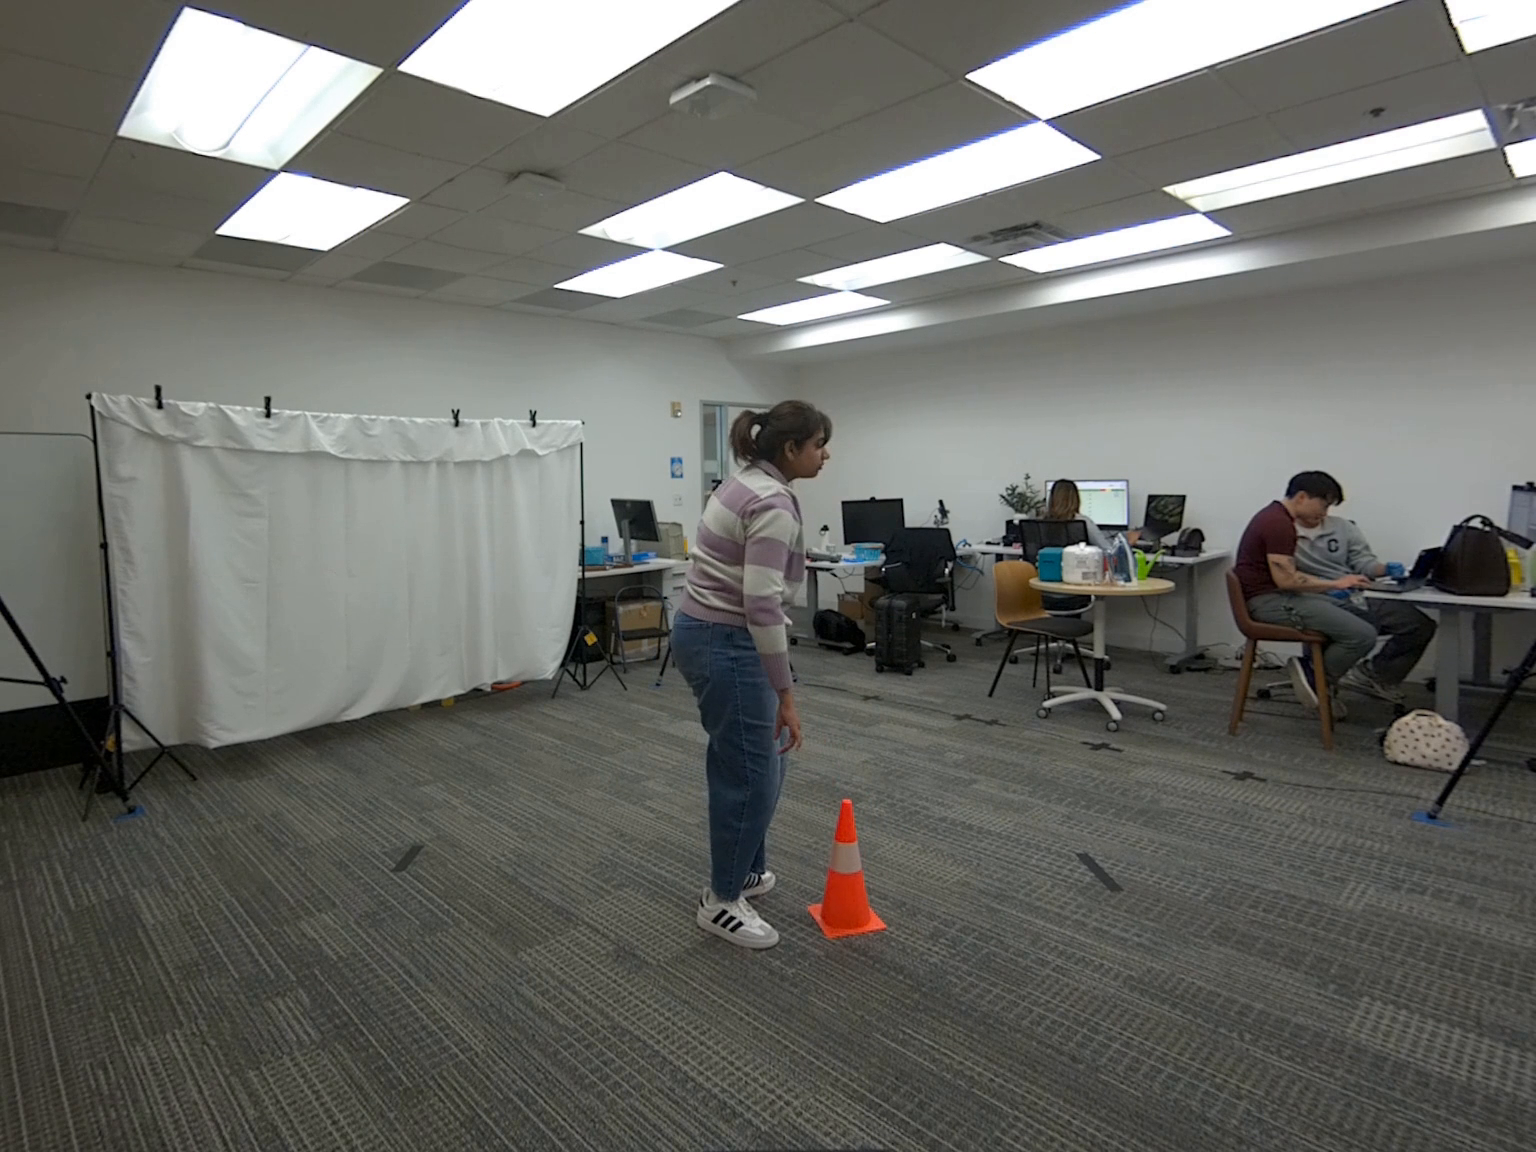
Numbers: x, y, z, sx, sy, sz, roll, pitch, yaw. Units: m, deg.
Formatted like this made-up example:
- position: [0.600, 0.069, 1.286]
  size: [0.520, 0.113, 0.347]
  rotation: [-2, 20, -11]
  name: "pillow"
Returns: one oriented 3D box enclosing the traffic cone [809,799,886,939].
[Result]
- position: [0.242, 0.900, 2.700]
  size: [0.201, 0.382, 0.208]
  rotation: [-2, 5, -12]
  name: "traffic cone"
